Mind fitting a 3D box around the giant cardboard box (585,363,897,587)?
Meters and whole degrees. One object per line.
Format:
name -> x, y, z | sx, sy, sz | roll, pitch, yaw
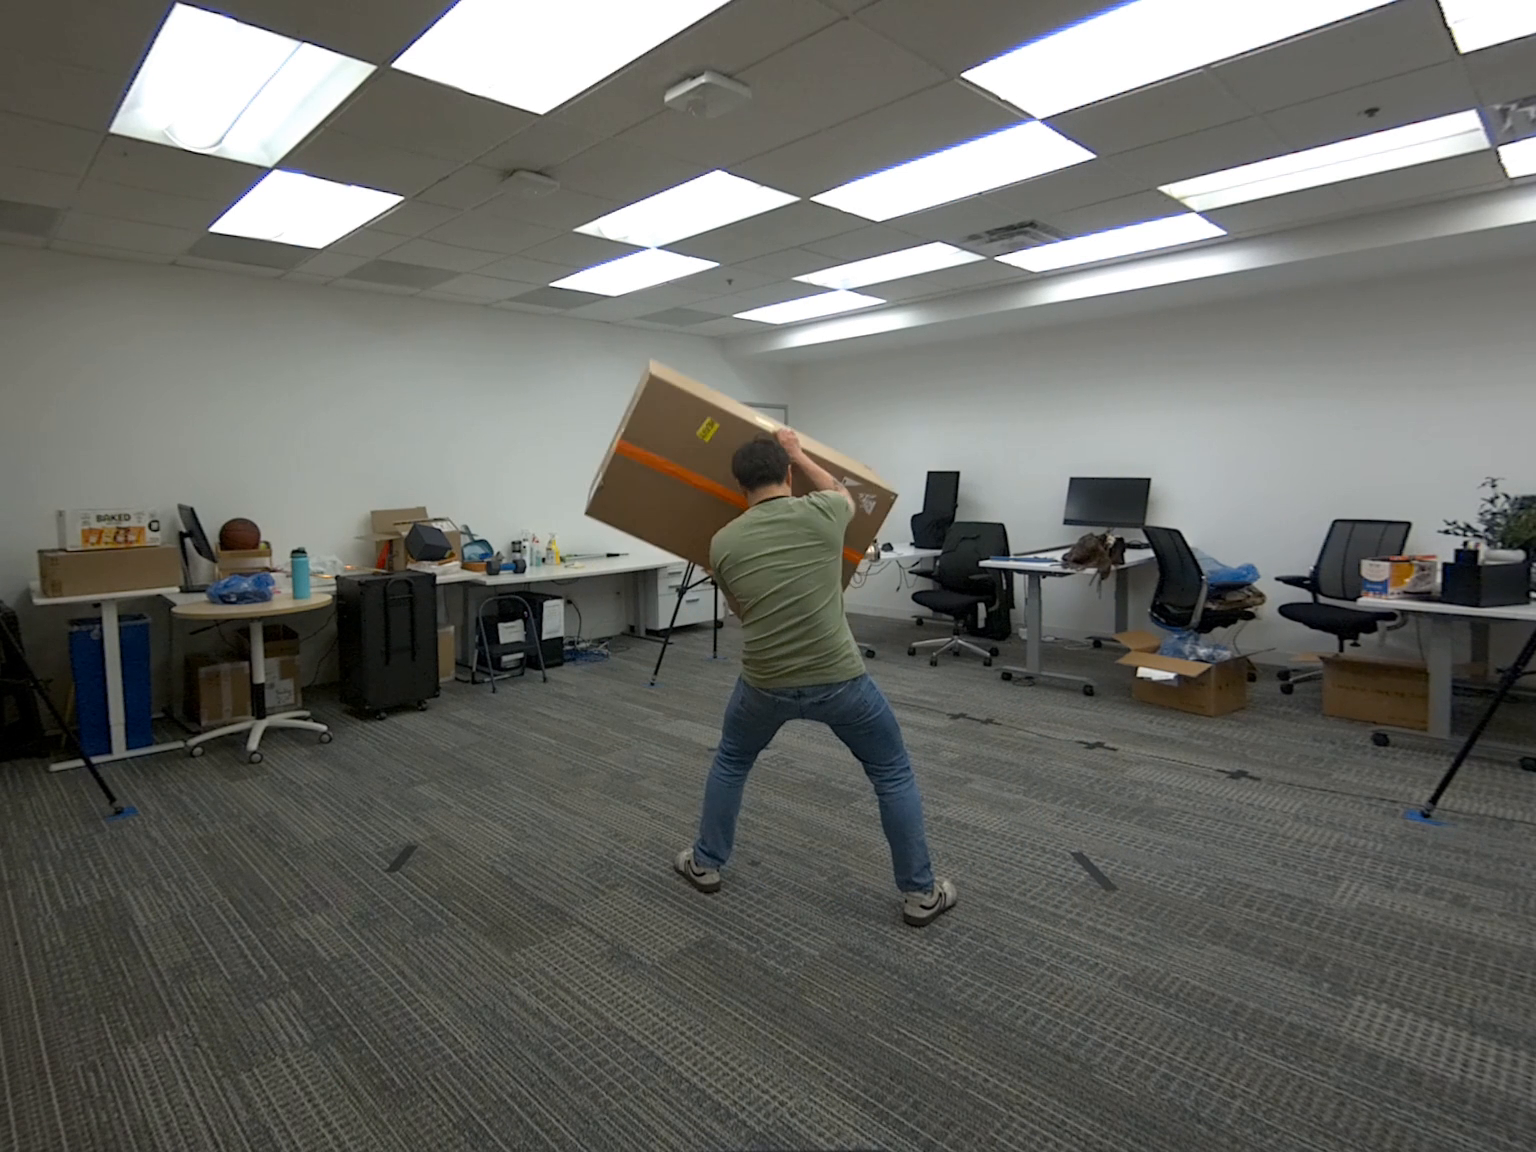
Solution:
giant cardboard box -> -0.113, -0.319, 3.325 | 1.010, 0.574, 0.435 | 25, 14, -12
